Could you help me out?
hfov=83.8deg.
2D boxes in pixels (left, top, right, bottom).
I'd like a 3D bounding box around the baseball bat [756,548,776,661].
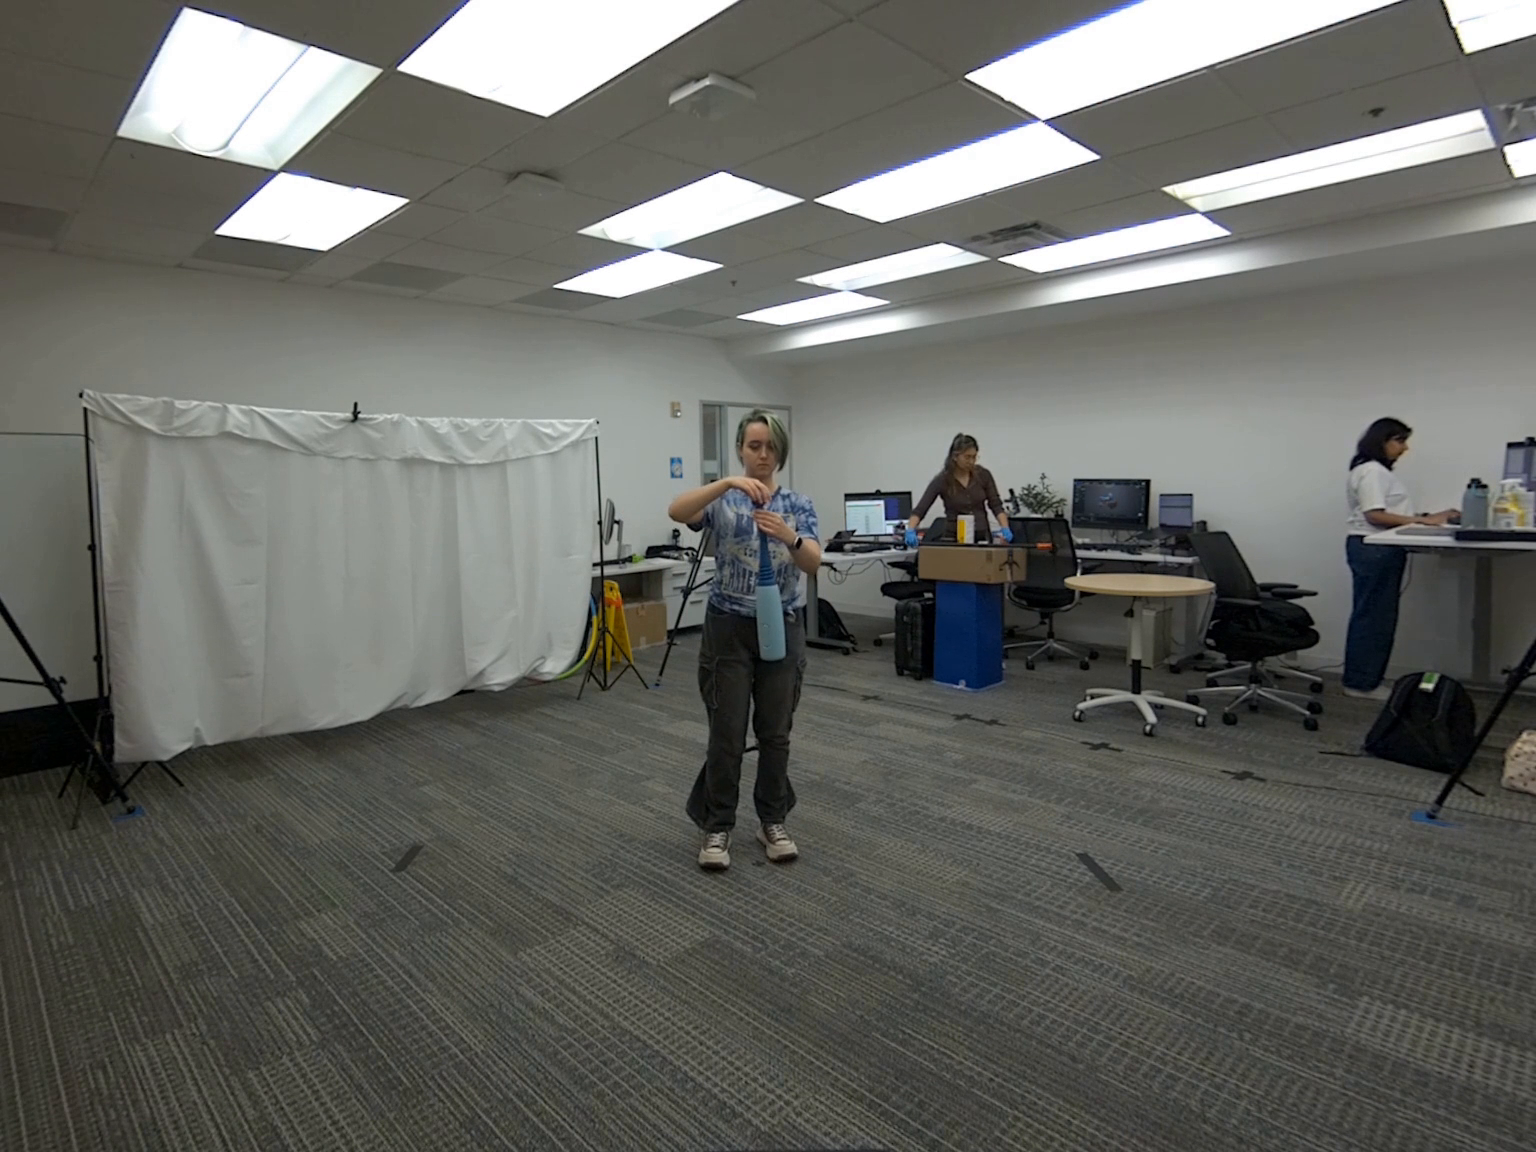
[{"bbox_3d":[-0.045,0.018,2.841,0.089,0.541,0.089,-4,3,-1],"label":"baseball bat"}]
